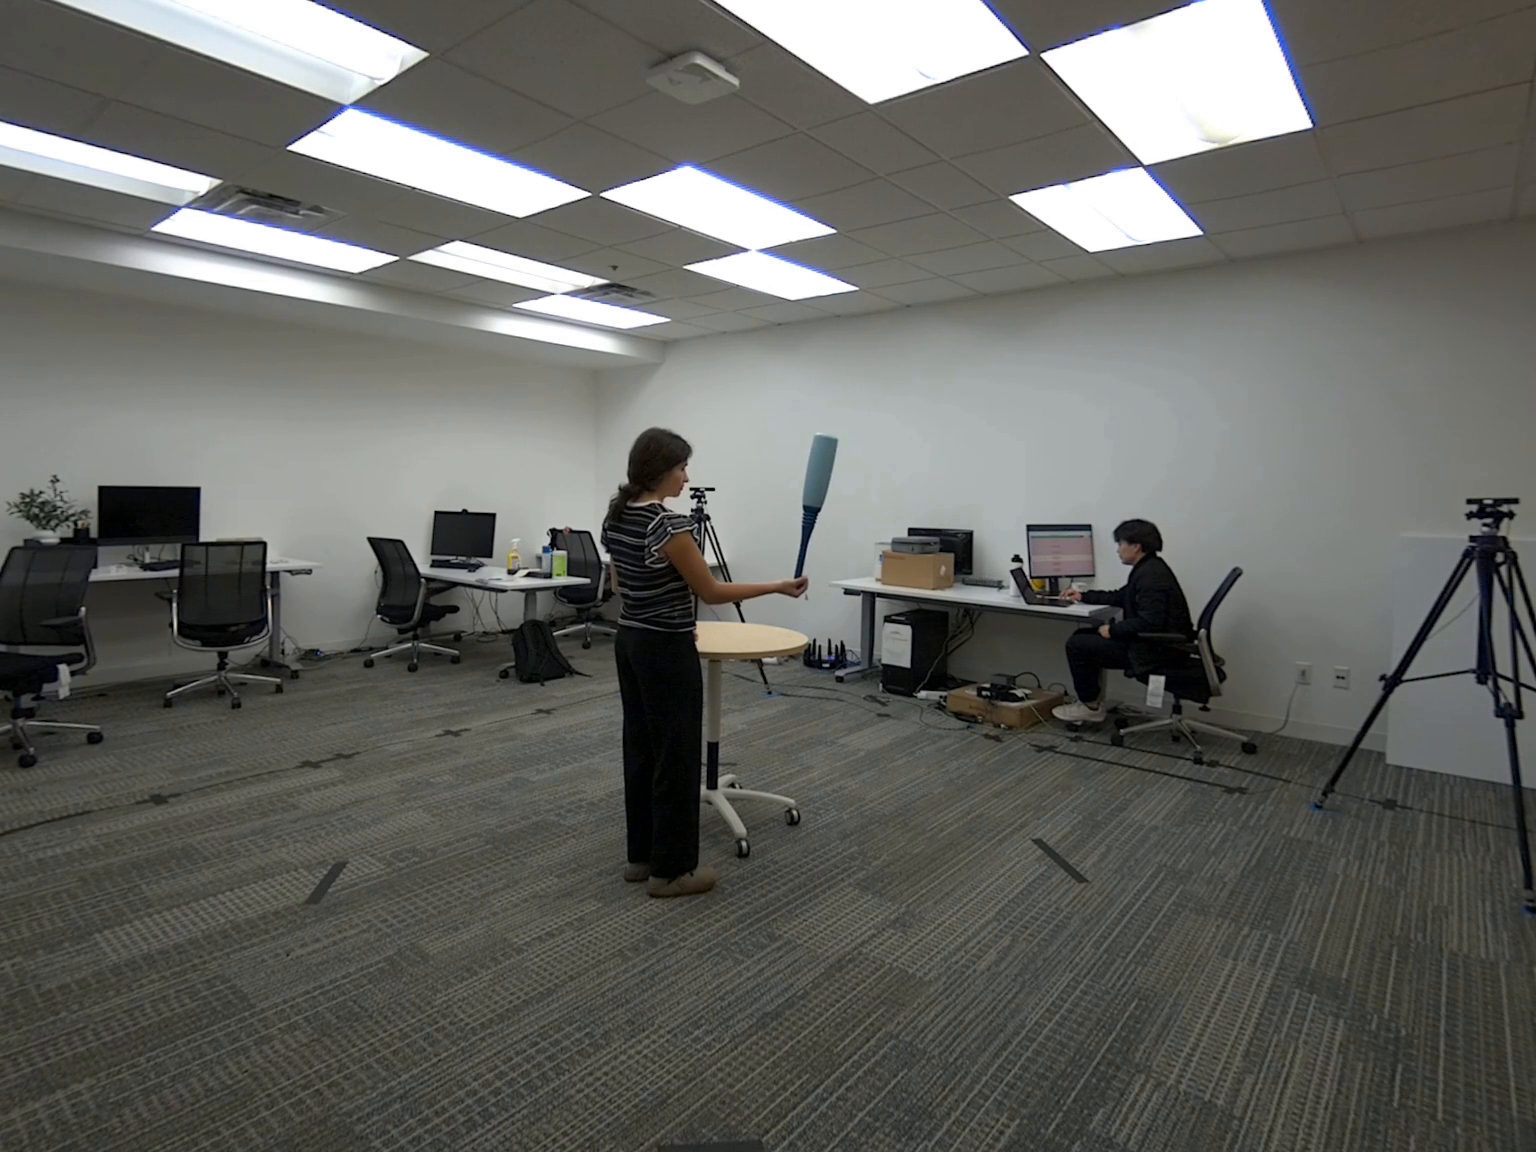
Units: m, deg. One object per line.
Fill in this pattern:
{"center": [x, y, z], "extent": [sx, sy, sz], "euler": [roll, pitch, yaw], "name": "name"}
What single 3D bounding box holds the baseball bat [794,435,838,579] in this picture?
{"center": [0.136, -0.222, 2.933], "extent": [0.089, 0.540, 0.090], "euler": [10, 7, -3], "name": "baseball bat"}
